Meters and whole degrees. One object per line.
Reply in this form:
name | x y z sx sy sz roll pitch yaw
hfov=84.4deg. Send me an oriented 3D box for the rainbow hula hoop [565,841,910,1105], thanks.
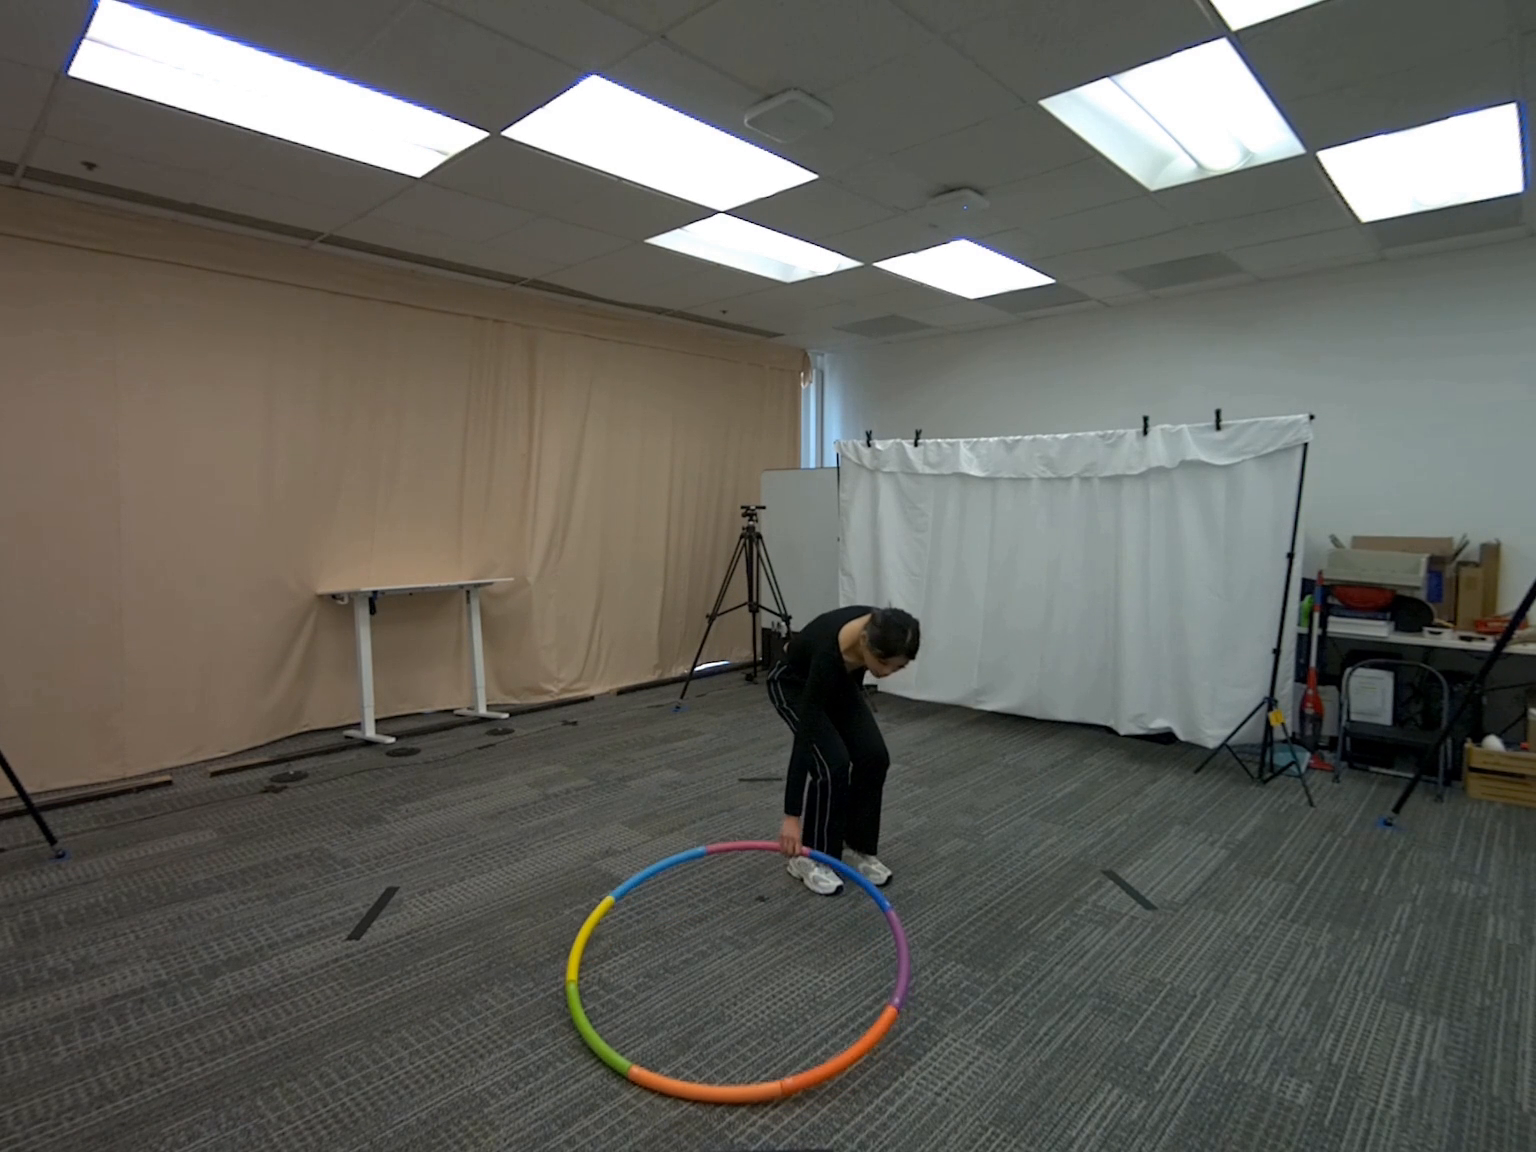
rainbow hula hoop | -0.083 1.064 2.421 0.979 0.035 0.989 -6 16 0
